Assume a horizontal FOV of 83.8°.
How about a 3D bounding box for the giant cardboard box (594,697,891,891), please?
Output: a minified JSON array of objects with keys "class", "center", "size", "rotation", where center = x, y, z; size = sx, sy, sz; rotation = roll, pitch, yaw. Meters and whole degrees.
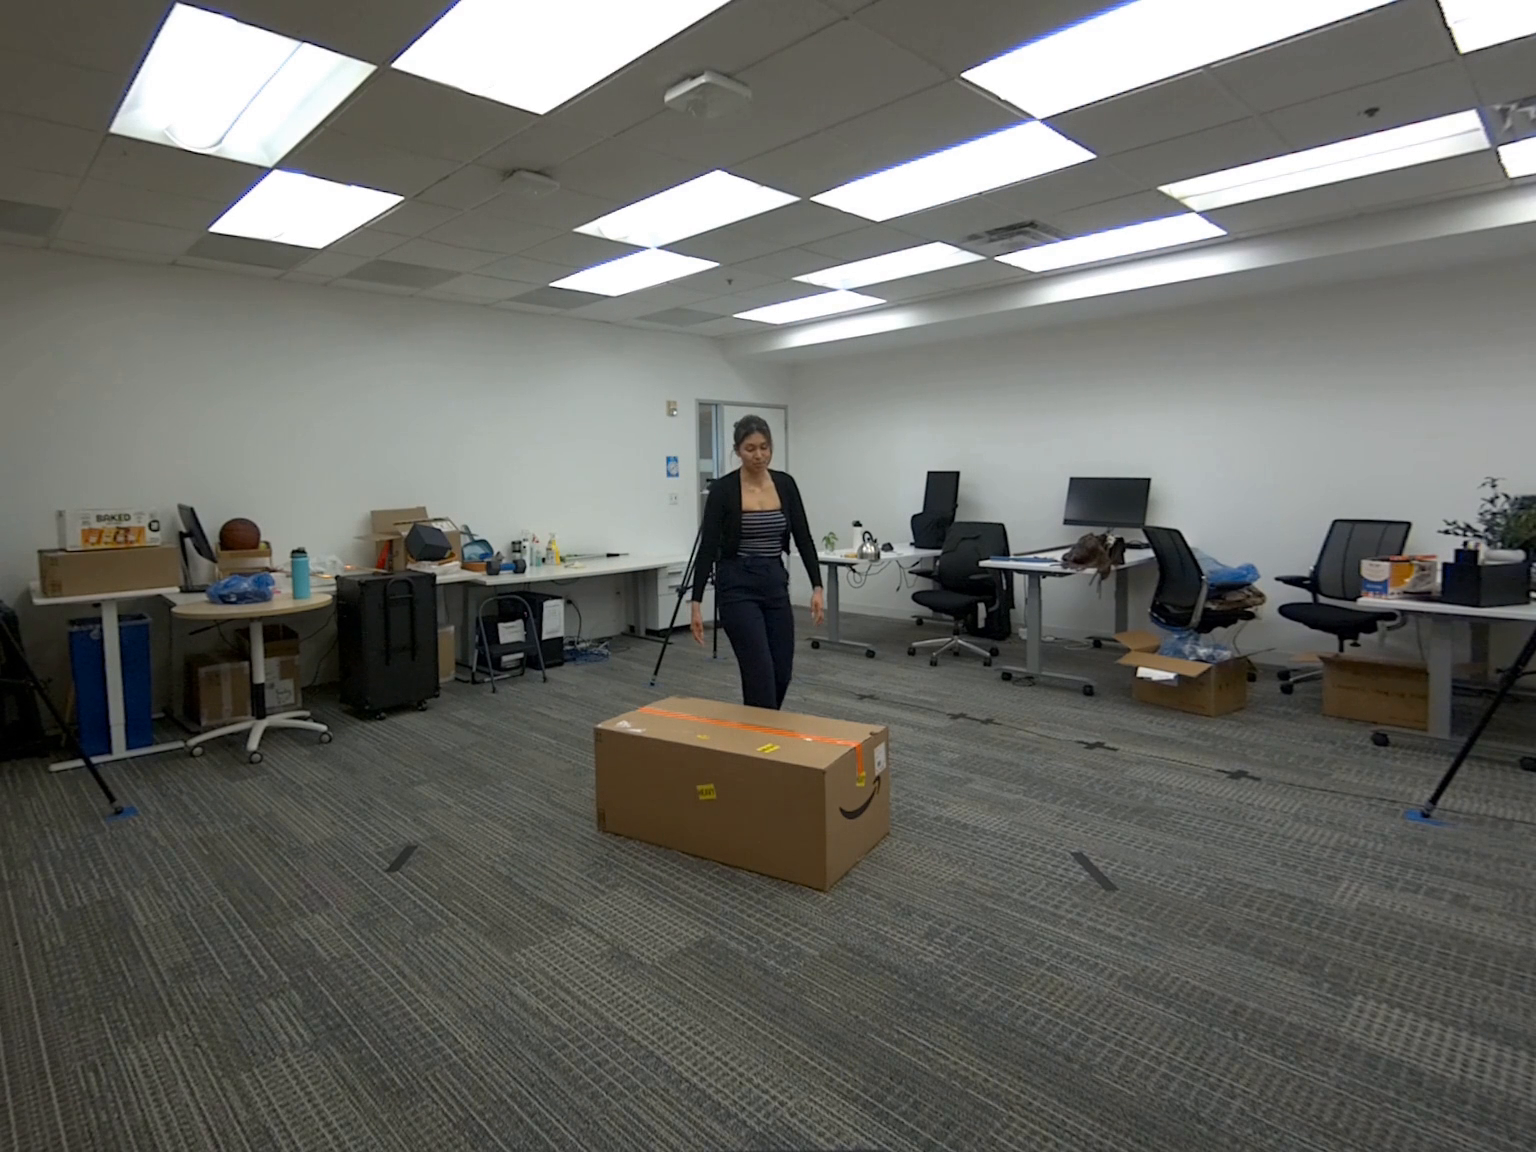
[{"class":"giant cardboard box","center":[-0.109,0.802,3.376],"size":[1.054,0.425,0.564],"rotation":[2,5,31]}]
